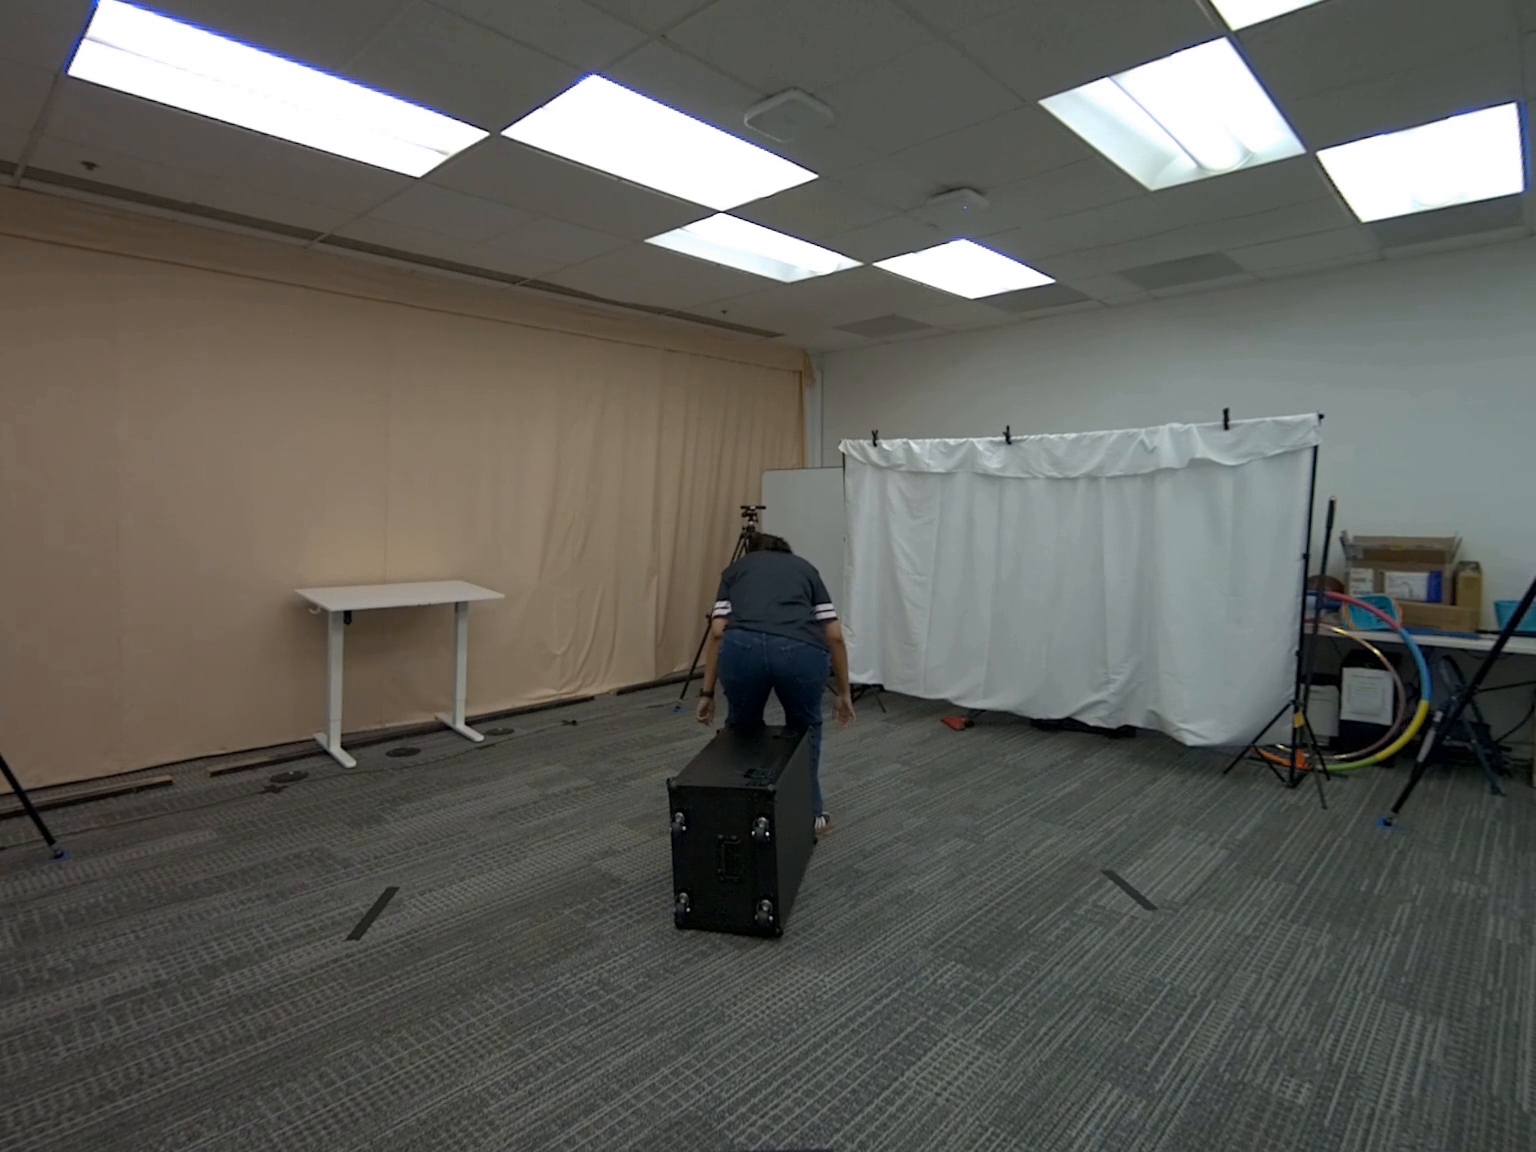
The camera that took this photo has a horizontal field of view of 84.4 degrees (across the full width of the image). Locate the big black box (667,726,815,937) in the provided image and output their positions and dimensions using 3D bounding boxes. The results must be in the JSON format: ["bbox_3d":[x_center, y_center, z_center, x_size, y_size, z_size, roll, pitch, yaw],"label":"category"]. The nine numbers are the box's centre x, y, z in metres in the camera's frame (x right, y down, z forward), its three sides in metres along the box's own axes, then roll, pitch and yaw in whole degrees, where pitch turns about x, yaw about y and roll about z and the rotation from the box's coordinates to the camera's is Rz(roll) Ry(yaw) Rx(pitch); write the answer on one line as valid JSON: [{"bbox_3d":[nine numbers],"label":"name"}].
[{"bbox_3d":[-0.073,0.879,3.054,0.391,0.522,0.857,0,4,13],"label":"big black box"}]
